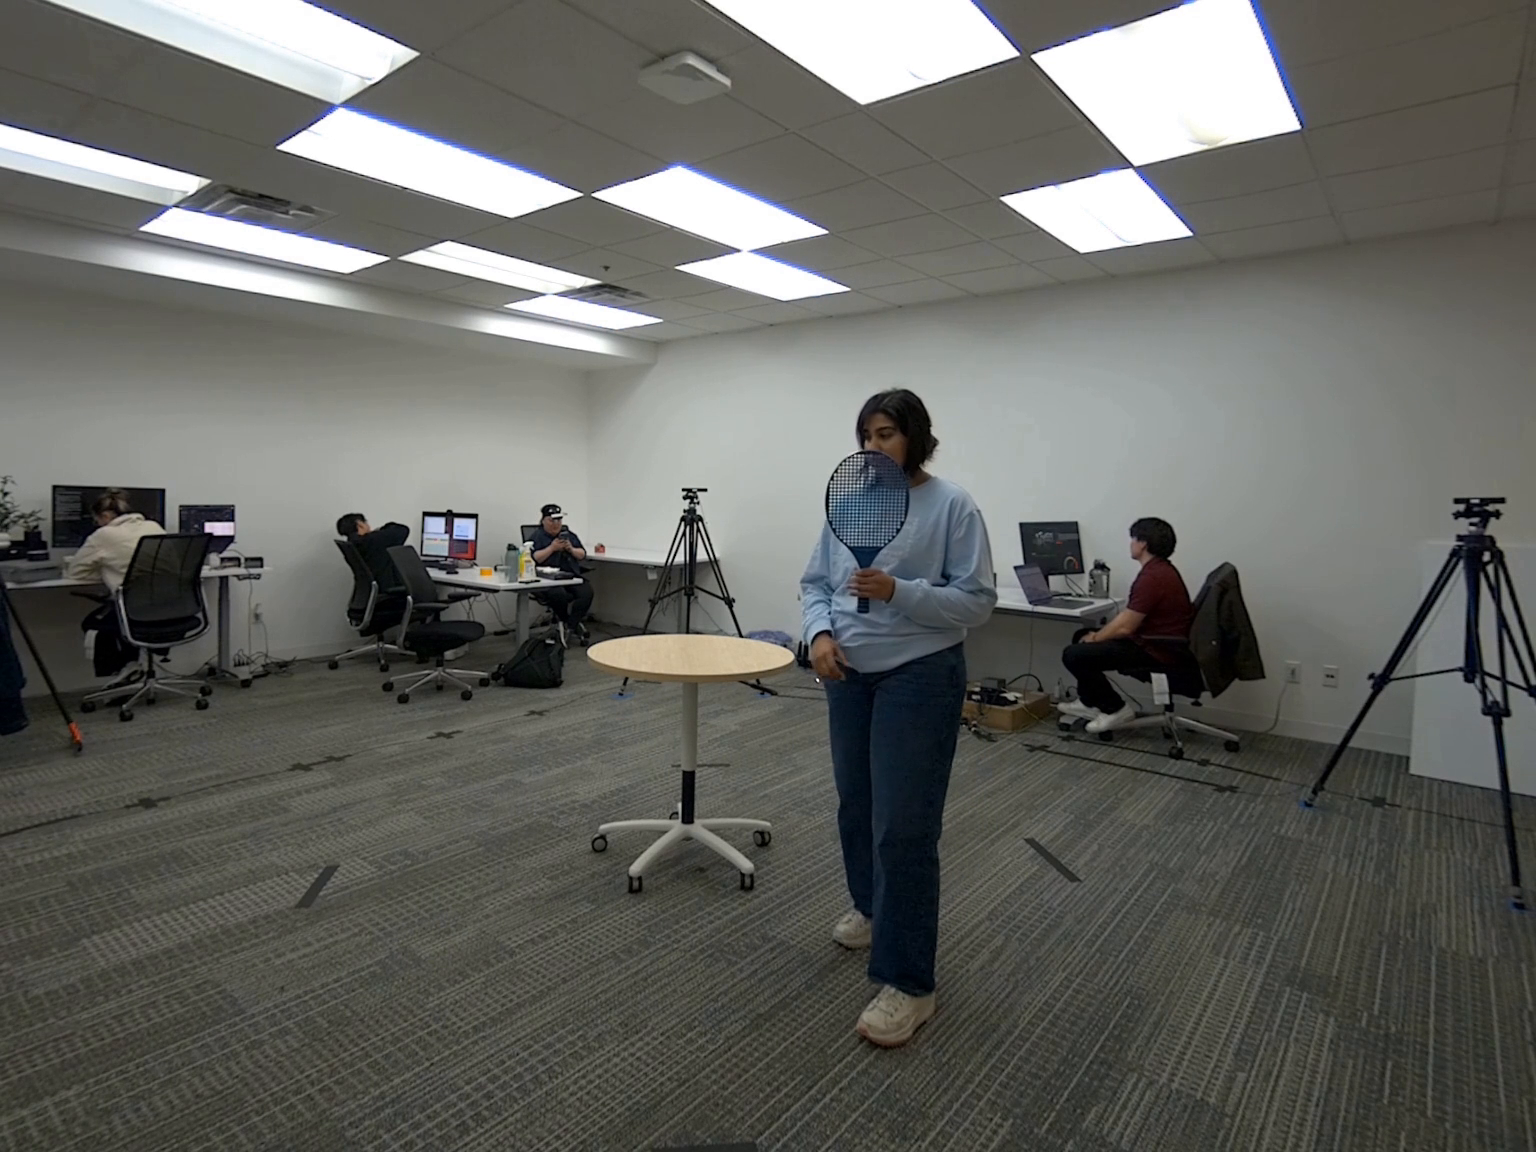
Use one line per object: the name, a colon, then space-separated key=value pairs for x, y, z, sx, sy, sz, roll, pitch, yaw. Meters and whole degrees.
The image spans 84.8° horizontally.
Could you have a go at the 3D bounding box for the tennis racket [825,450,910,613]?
tennis racket: x=0.260 y=-0.108 z=2.203 sx=0.214 sy=0.428 sz=0.032 roll=-4 pitch=9 yaw=1
